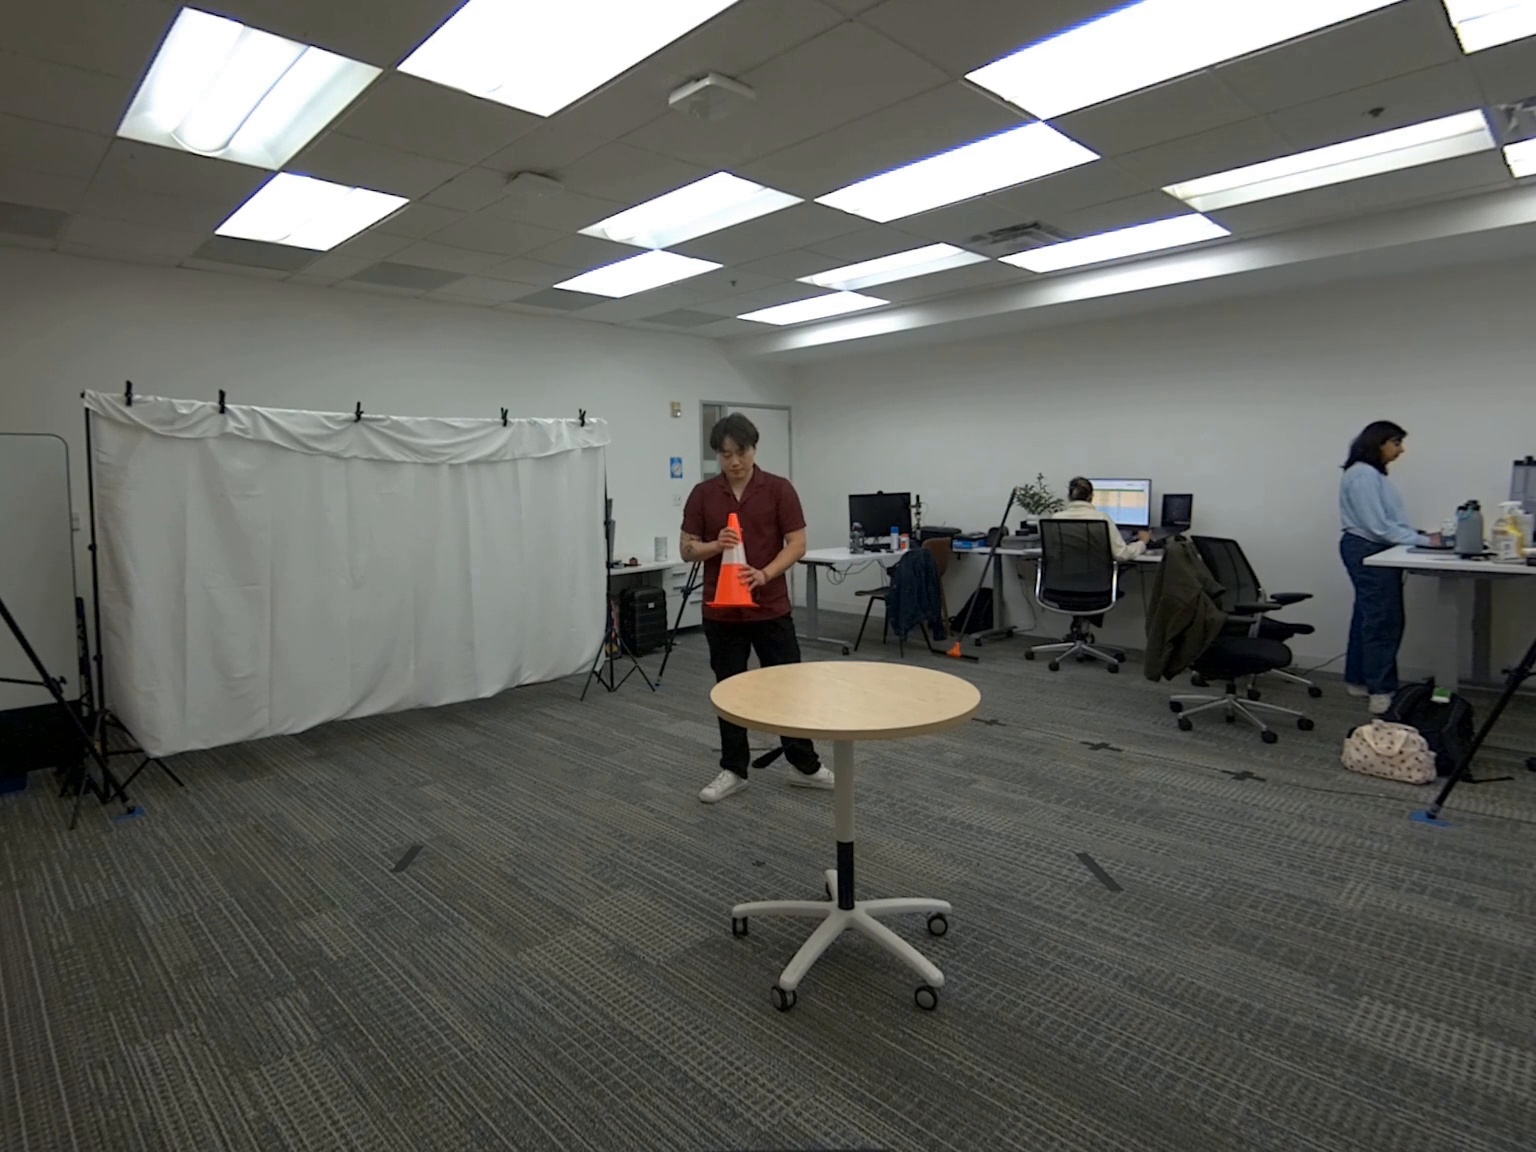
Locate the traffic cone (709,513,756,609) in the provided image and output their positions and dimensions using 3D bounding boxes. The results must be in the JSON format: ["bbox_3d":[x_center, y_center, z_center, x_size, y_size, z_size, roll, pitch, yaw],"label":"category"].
[{"bbox_3d":[-0.146,-0.068,3.556,0.207,0.386,0.200,-2,-7,10],"label":"traffic cone"}]
